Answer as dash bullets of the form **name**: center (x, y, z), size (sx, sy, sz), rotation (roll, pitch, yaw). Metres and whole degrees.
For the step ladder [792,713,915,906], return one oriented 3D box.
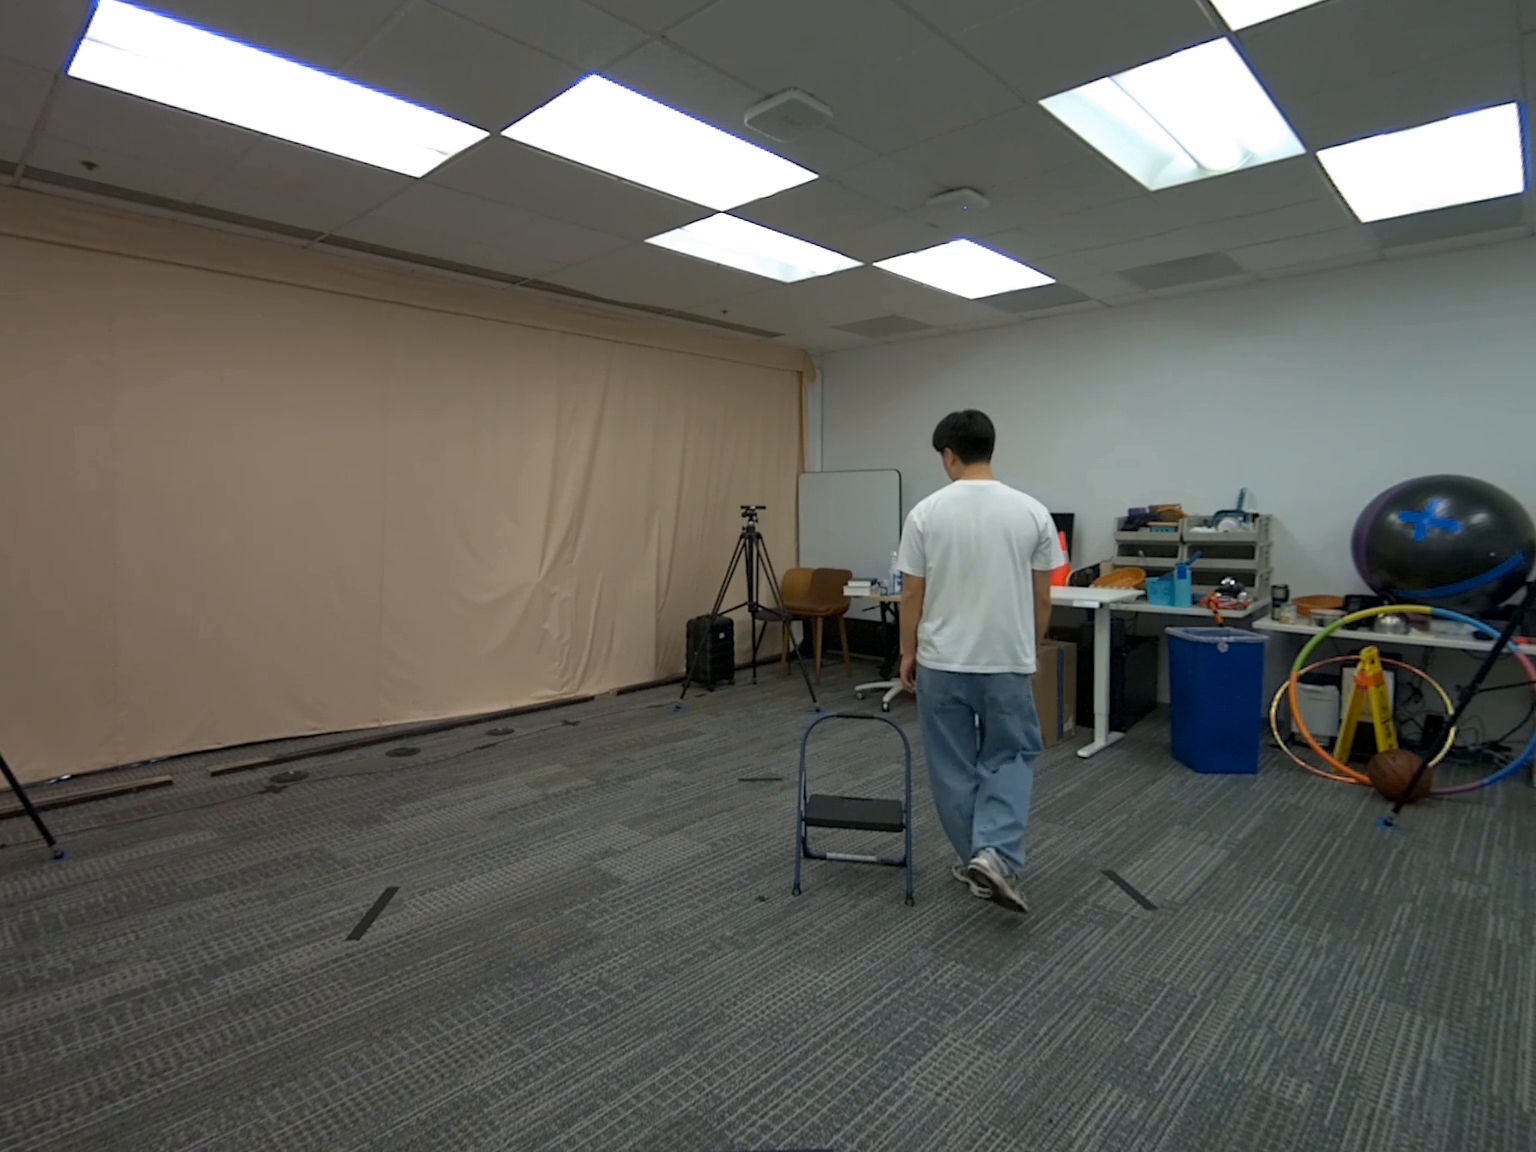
- **step ladder**: center (0.325, 0.829, 3.128), size (0.435, 0.605, 0.346), rotation (1, 4, 9)
